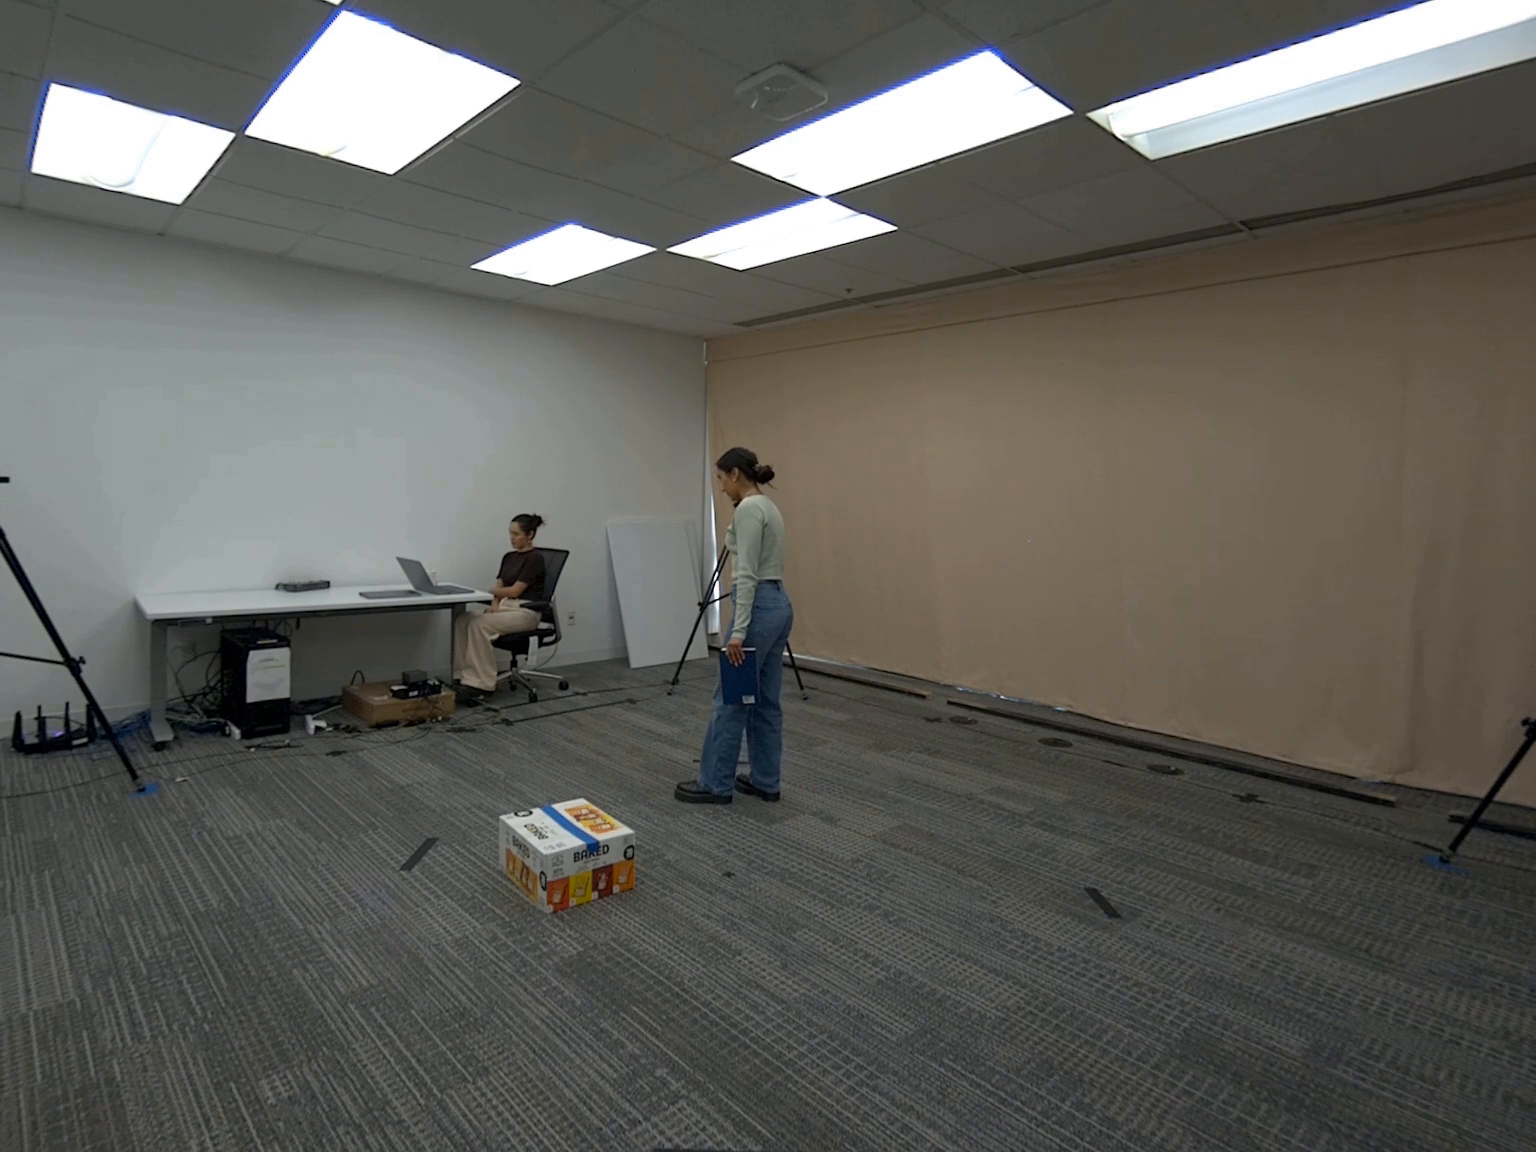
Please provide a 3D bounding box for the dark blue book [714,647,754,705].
[{"bbox_3d":[-0.149,0.438,3.661,0.165,0.244,0.045,2,8,15],"label":"dark blue book"}]
